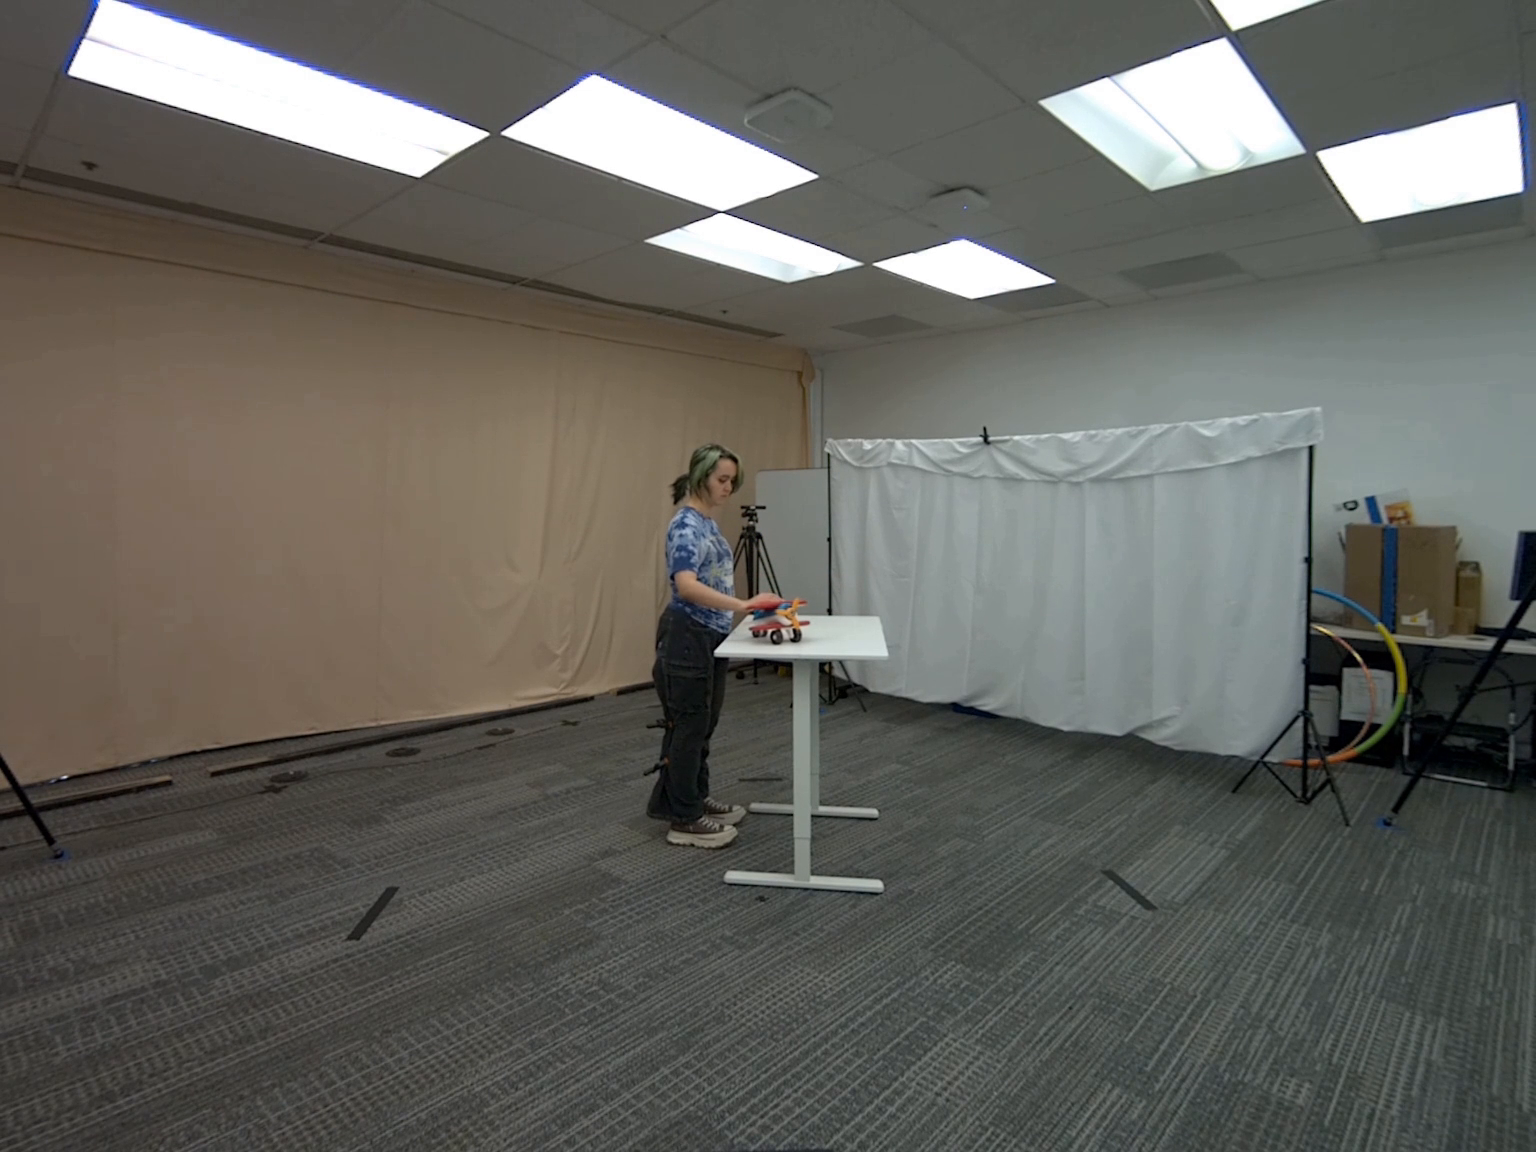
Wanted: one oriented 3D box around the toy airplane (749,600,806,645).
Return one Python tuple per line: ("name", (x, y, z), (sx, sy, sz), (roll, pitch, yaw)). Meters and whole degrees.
("toy airplane", (0.008, 0.170, 3.190), (0.267, 0.156, 0.245), (2, 5, 30))
